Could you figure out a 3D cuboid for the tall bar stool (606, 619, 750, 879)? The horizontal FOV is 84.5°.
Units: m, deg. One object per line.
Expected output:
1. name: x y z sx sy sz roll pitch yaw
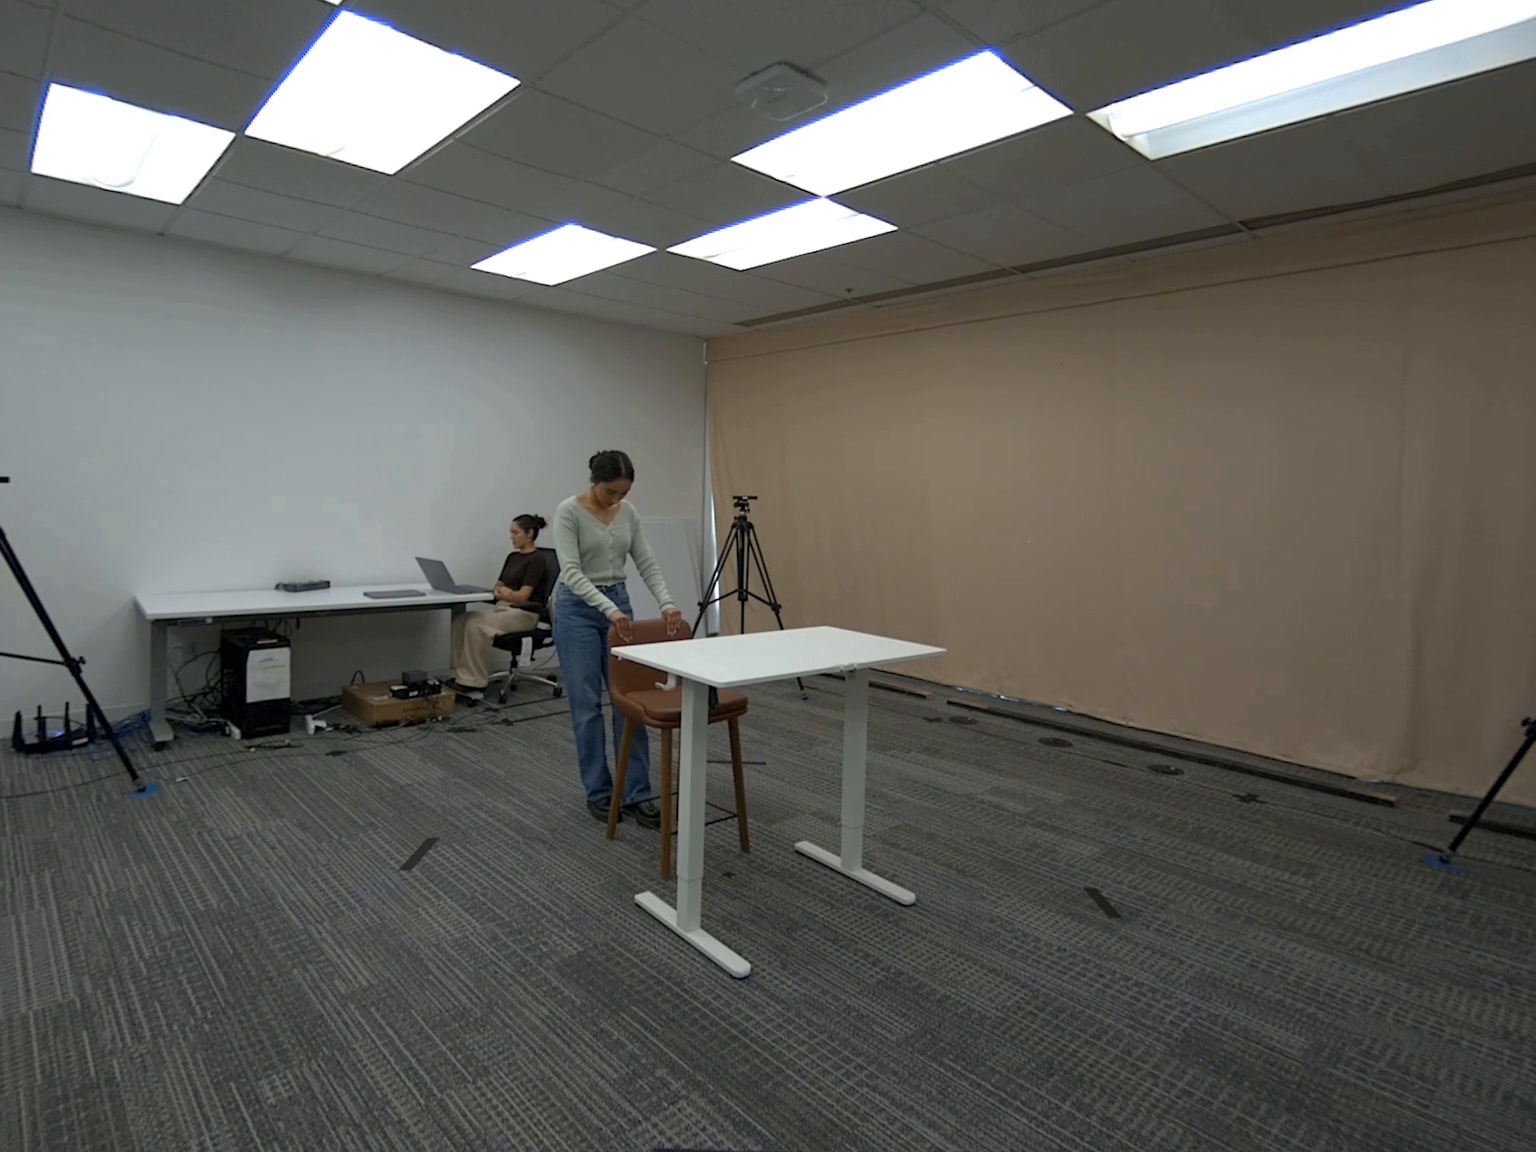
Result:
1. tall bar stool: -0.370 0.635 3.332 0.446 0.889 0.479 -1 2 -40
